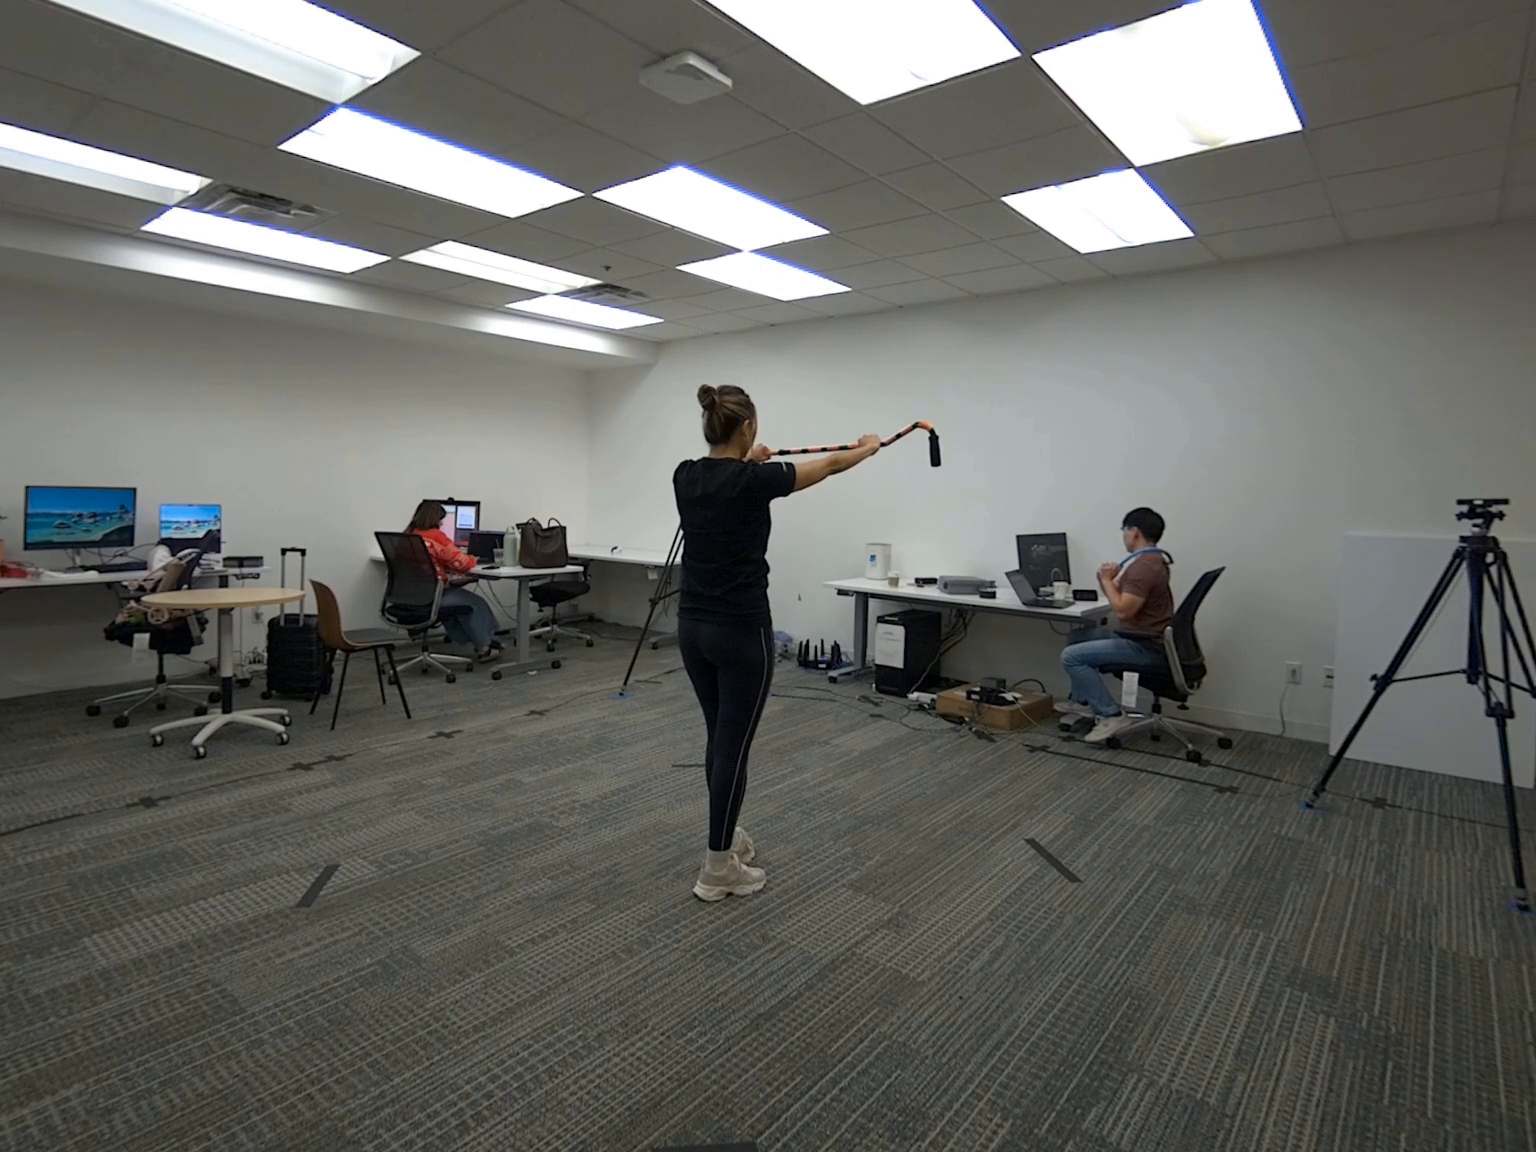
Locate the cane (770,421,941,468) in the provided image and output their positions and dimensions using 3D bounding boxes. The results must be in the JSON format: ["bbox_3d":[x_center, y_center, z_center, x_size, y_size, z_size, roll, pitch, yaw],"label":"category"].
[{"bbox_3d":[0.231,-0.500,3.290,0.937,0.205,0.148,2,10,39],"label":"cane"}]
